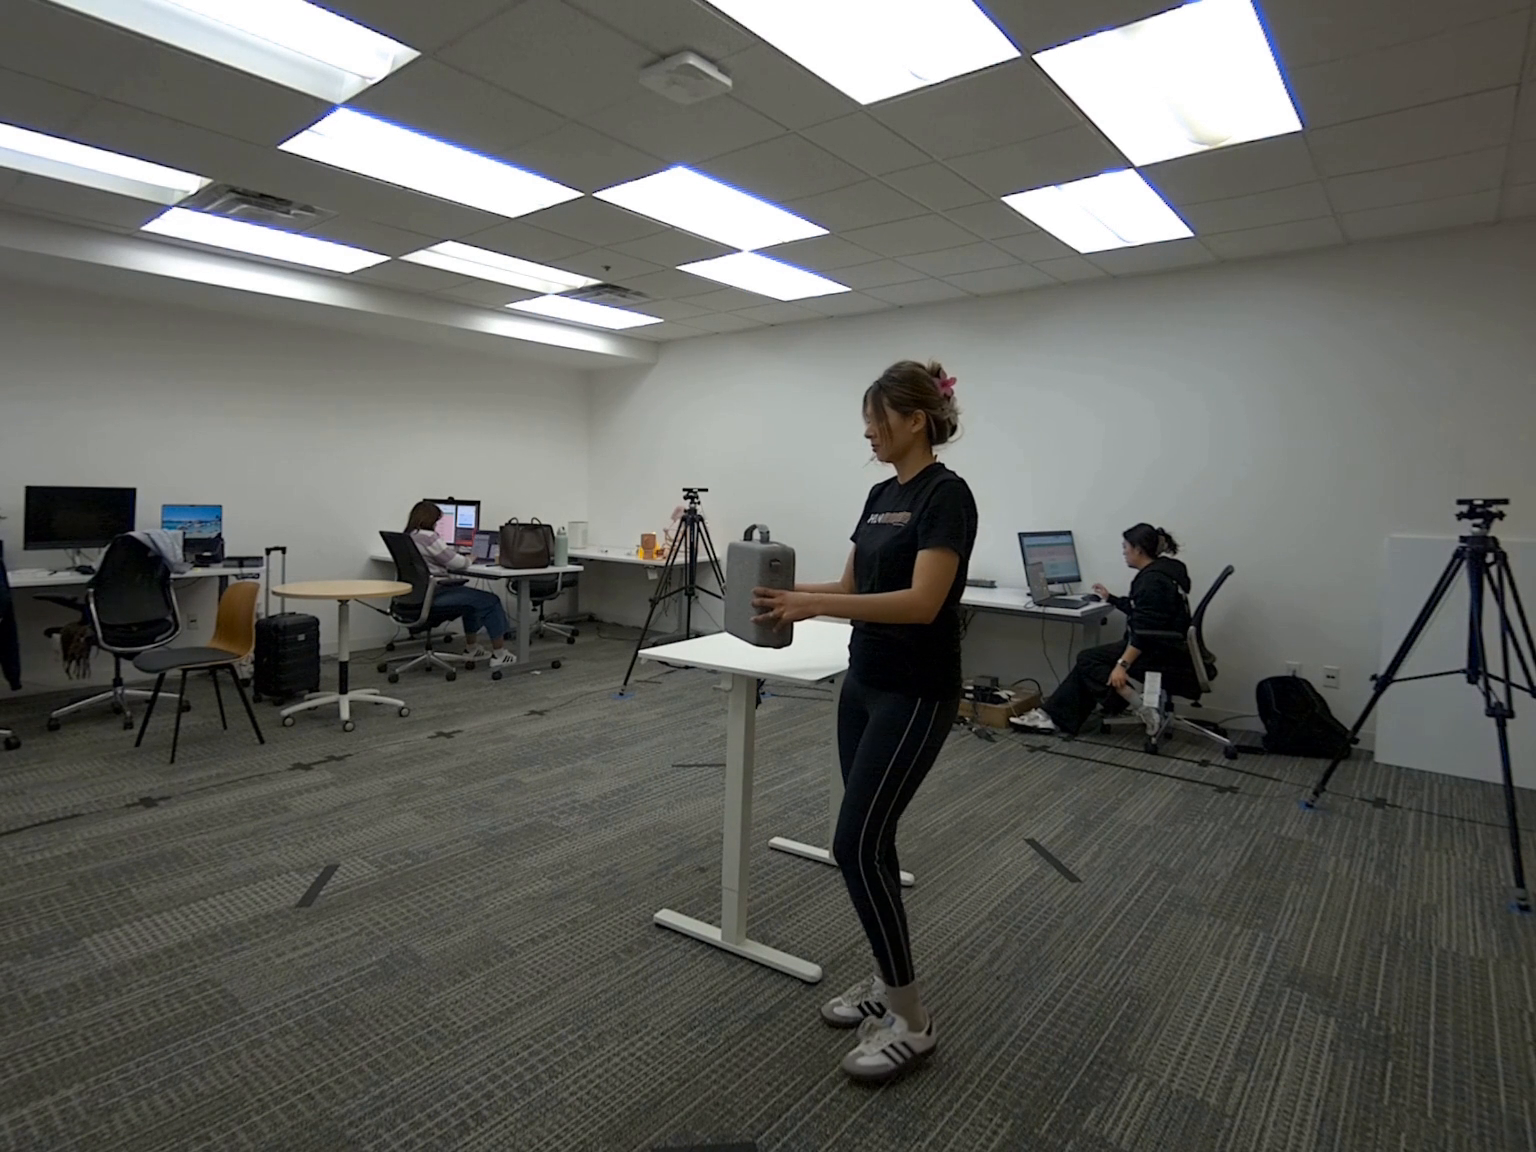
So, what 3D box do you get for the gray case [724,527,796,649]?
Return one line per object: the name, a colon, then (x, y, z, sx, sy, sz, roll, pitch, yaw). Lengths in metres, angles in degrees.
gray case: (-0.033, 0.032, 2.142, 0.102, 0.260, 0.263, 1, 2, -21)
